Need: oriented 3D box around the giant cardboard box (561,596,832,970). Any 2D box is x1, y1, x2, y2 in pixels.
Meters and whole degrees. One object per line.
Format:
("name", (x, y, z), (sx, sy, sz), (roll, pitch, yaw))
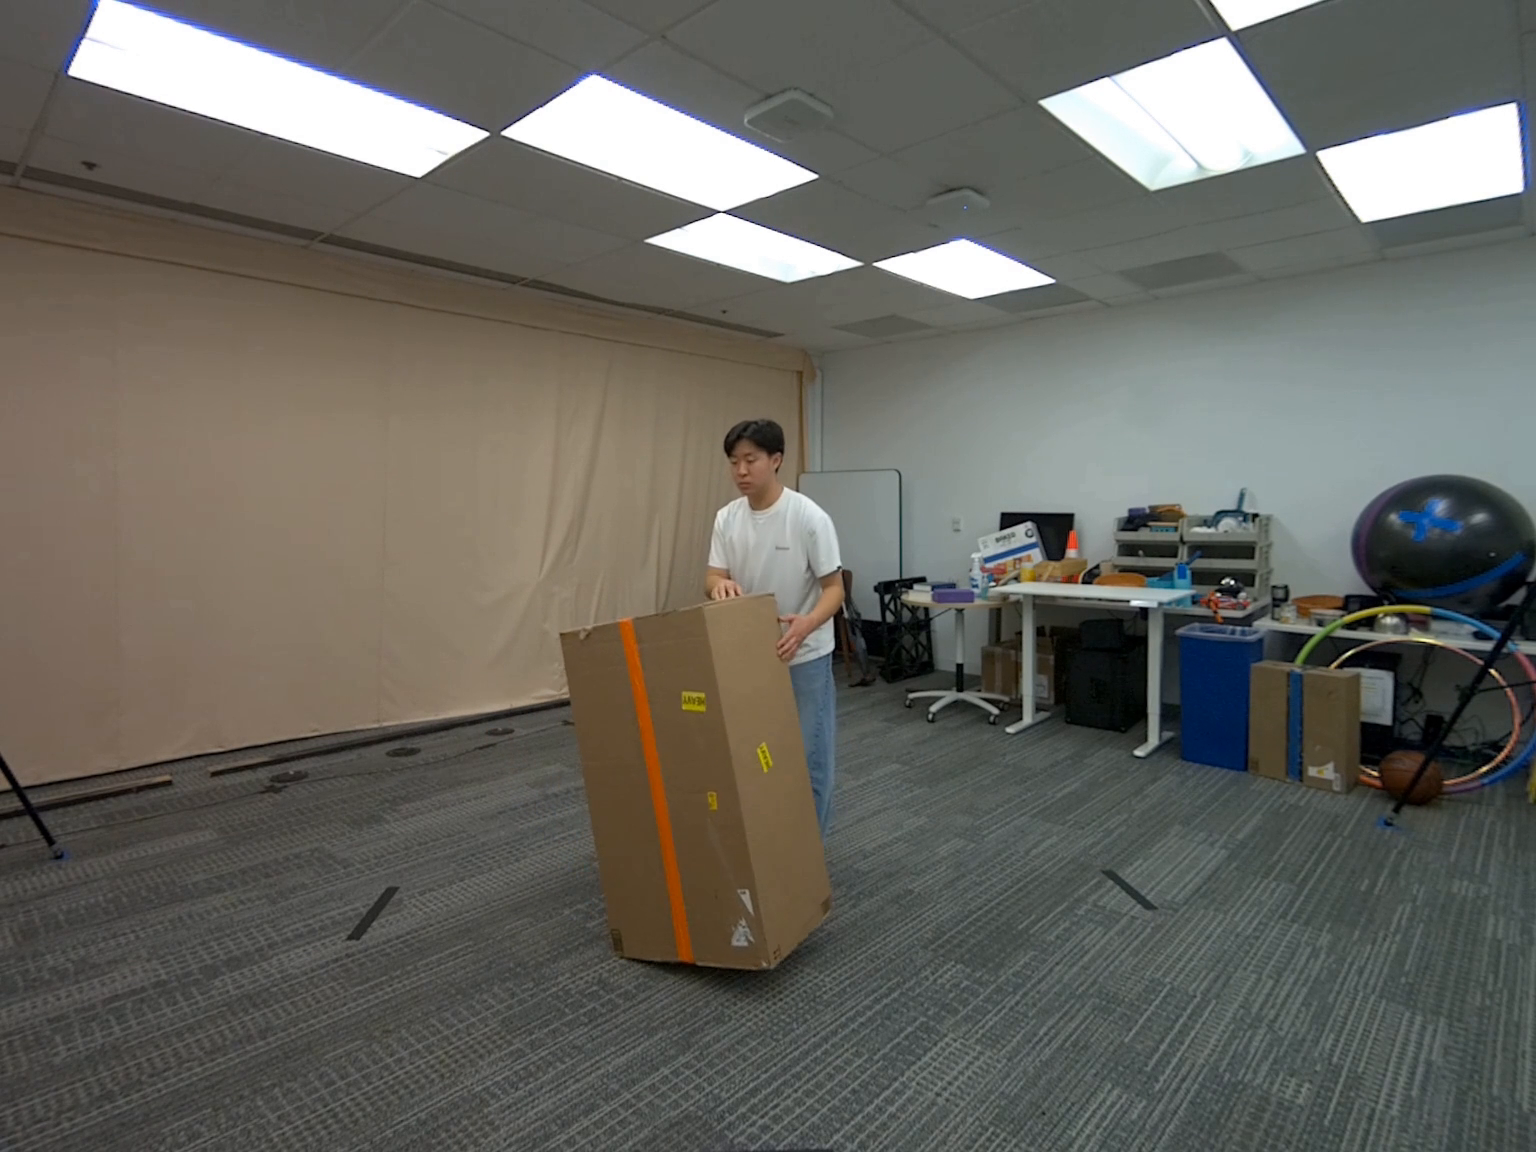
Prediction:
("giant cardboard box", (-0.239, 0.615, 2.672), (0.591, 1.029, 0.414), (-13, -5, 31))
